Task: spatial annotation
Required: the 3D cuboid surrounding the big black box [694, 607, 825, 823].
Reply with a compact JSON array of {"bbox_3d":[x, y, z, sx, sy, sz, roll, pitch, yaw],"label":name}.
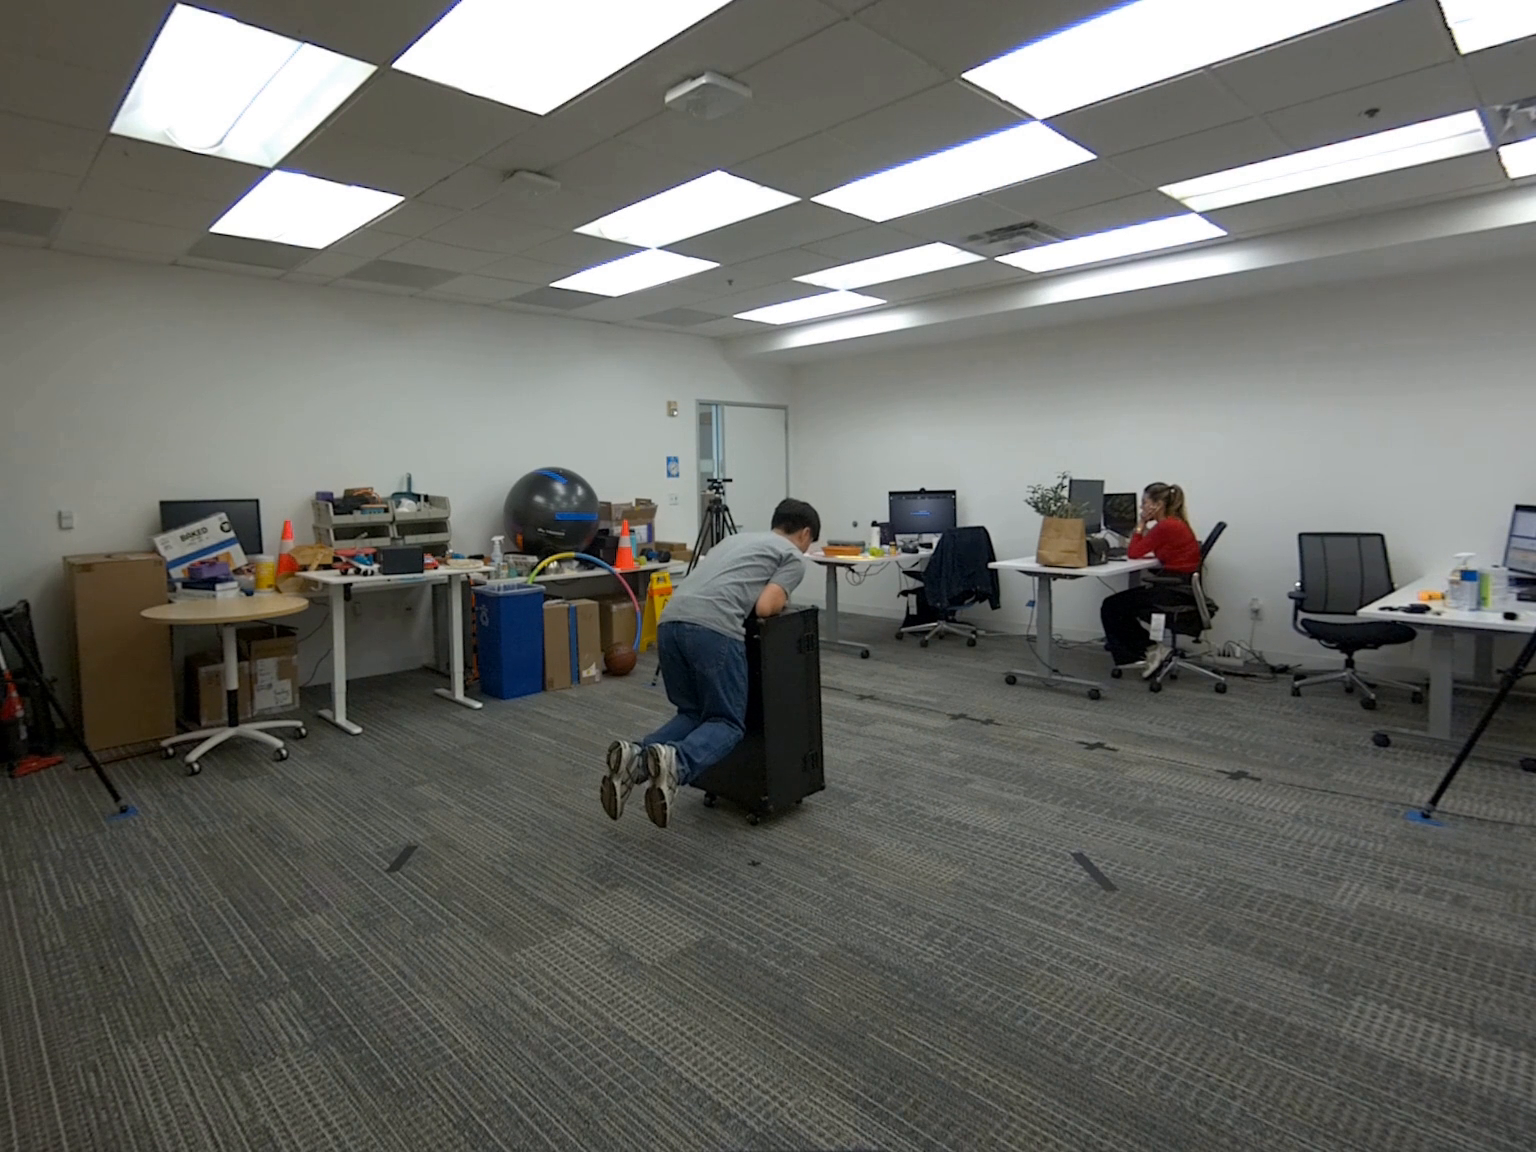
[{"bbox_3d":[-0.069,0.556,3.630,0.537,0.857,0.386,4,8,45],"label":"big black box"}]
